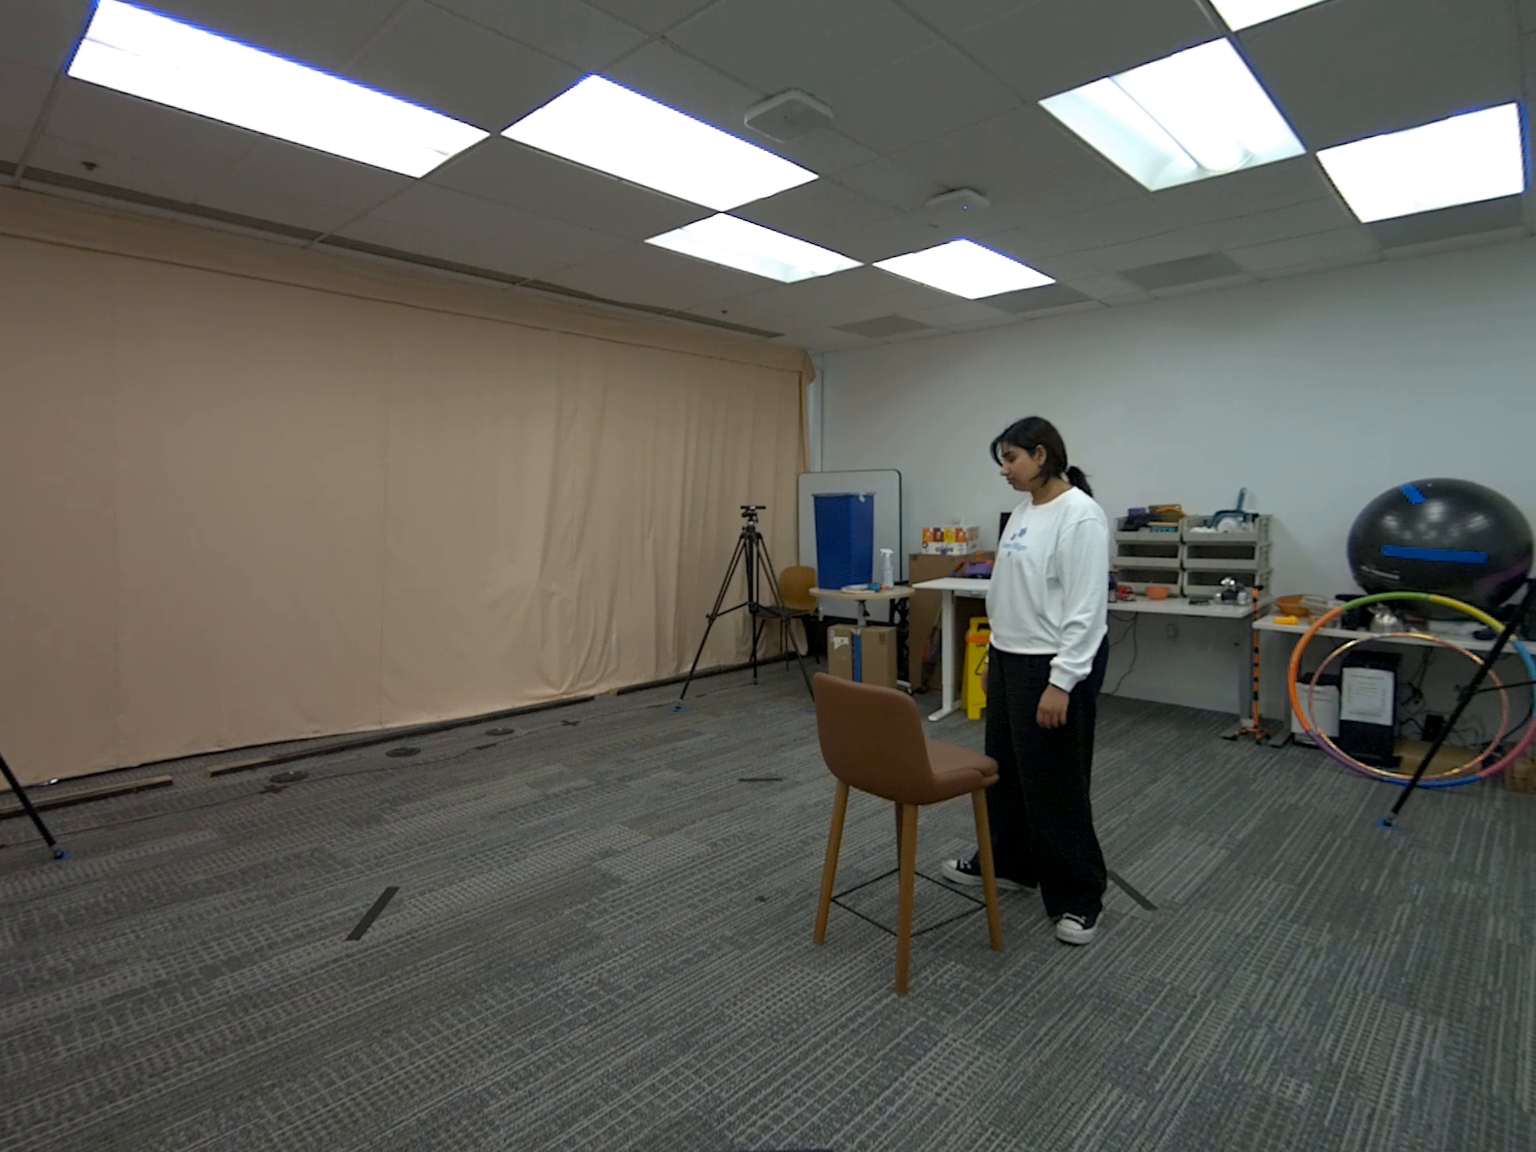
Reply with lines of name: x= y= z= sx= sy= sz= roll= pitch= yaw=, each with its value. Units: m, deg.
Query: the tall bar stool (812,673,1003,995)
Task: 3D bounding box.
tall bar stool: x=0.444 y=0.740 z=2.643 sx=0.454 sy=0.887 sz=0.471 roll=-4 pitch=5 yaw=-38
